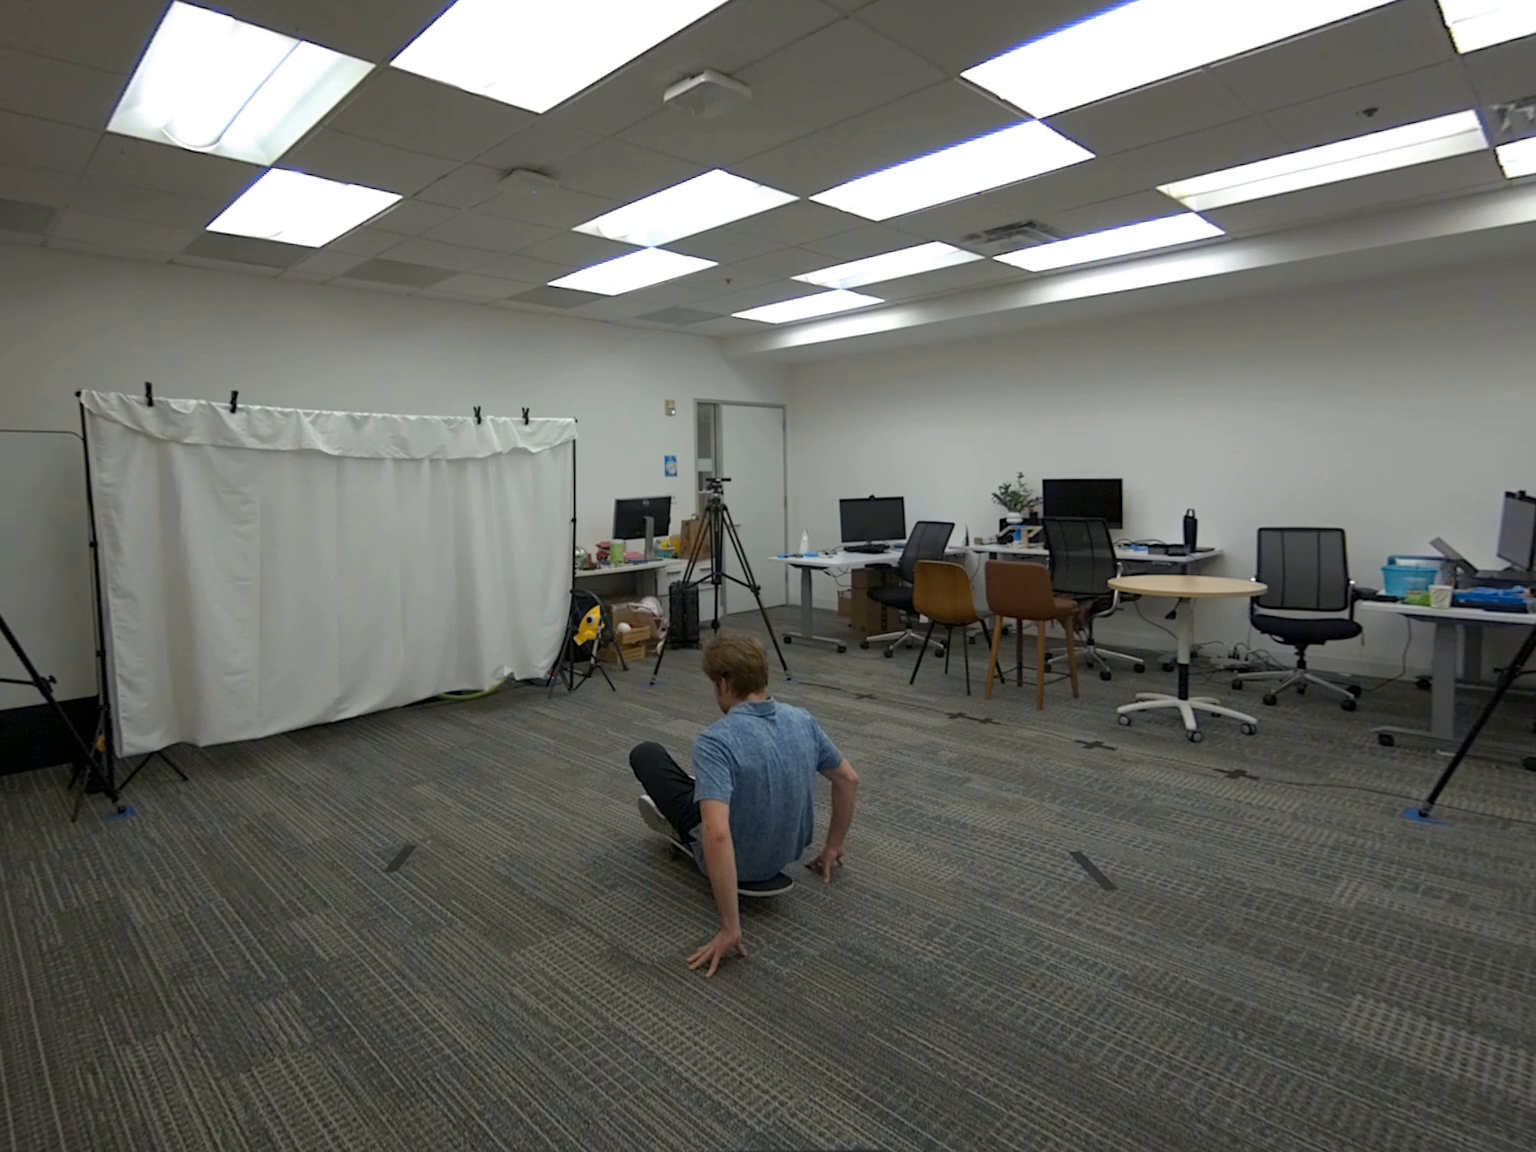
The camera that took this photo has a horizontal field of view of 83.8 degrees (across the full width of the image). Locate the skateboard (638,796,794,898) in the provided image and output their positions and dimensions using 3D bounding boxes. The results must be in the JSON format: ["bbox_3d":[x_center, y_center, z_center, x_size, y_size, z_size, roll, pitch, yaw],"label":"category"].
[{"bbox_3d":[-0.190,1.013,3.024,0.189,0.110,0.809,-5,9,-34],"label":"skateboard"}]
